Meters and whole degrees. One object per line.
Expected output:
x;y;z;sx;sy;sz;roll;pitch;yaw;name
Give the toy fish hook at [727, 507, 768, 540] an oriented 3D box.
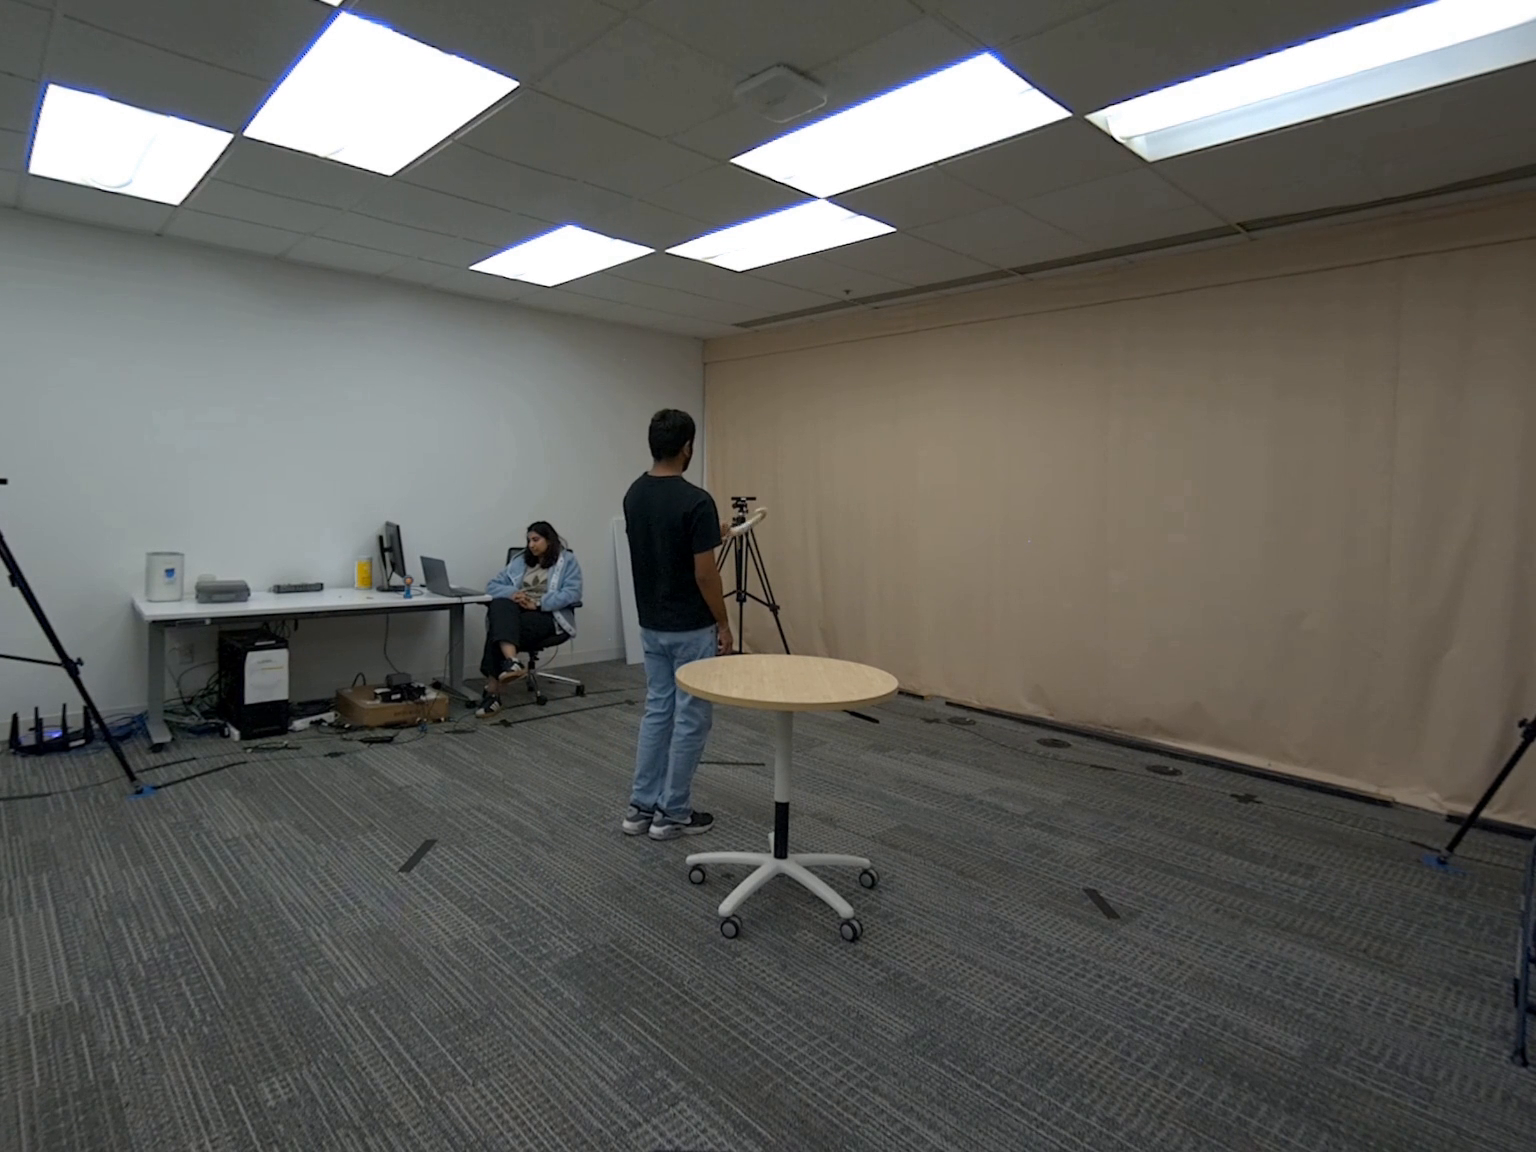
-0.147;-0.261;3.824;0.225;0.049;0.499;-41;-10;19;toy fish hook
